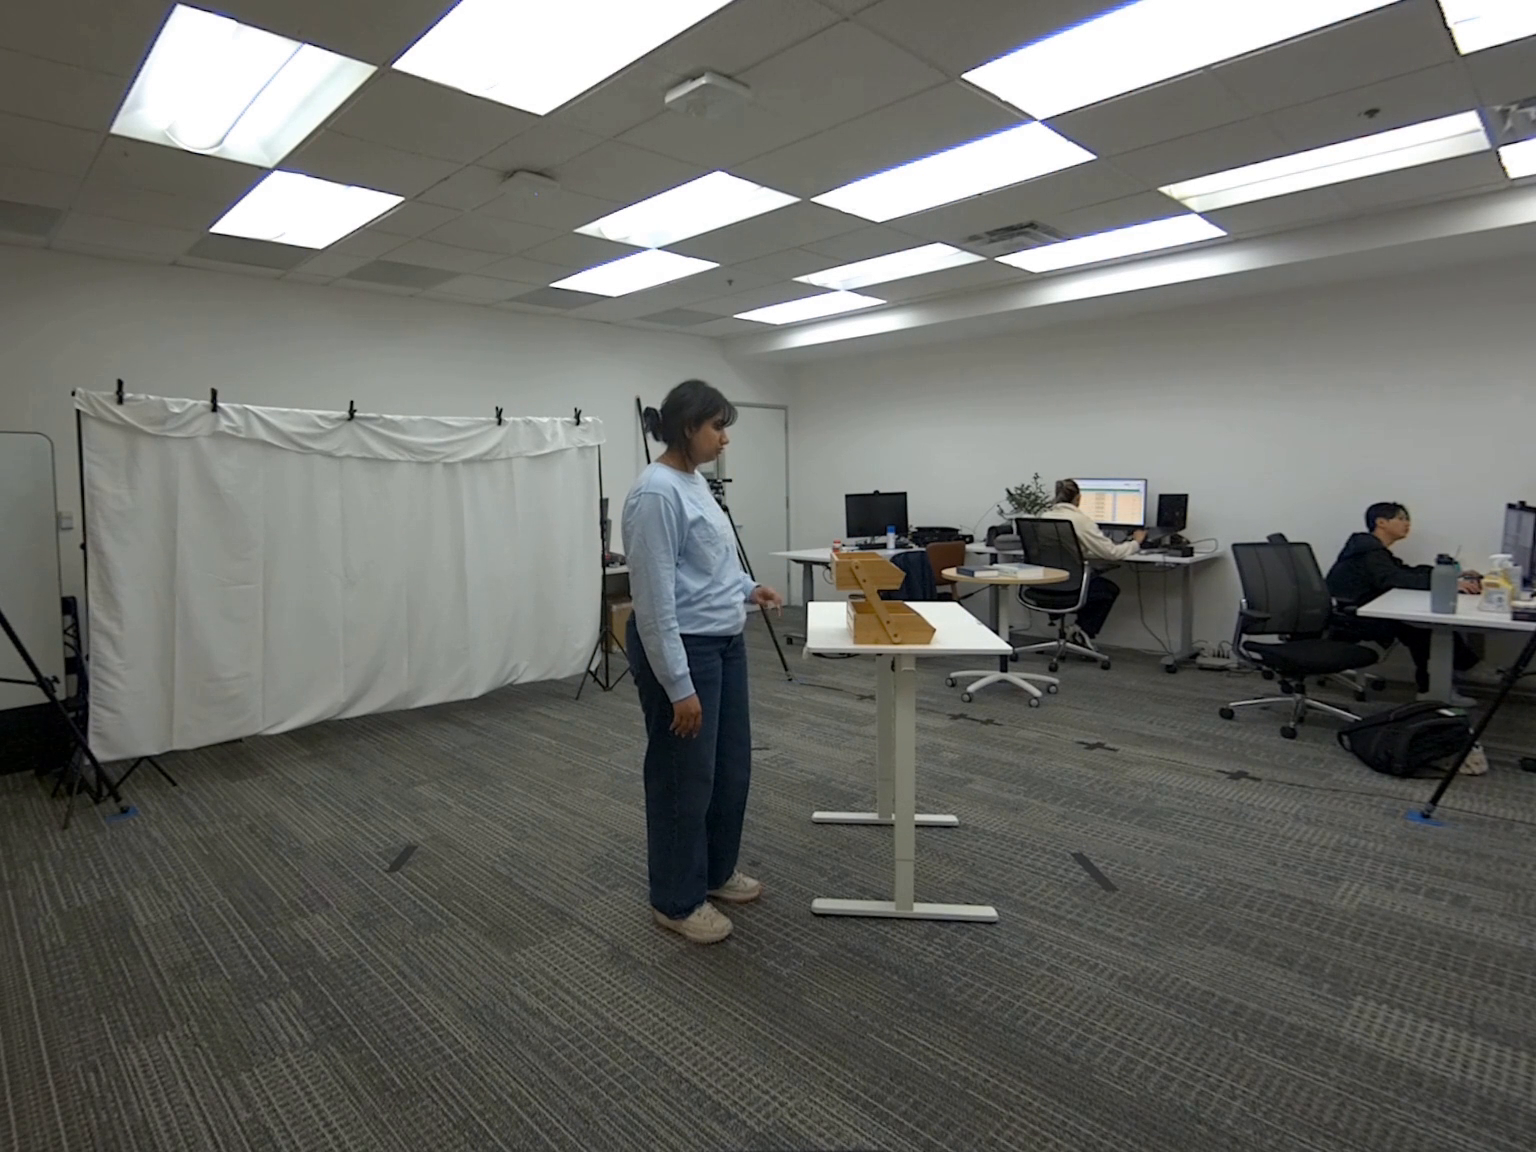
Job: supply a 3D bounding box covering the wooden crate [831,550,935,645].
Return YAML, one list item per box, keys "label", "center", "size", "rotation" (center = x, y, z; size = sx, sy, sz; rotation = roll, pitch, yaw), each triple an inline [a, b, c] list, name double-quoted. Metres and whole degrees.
- label: "wooden crate"
  center: [0.361, 0.060, 2.748]
  size: [0.303, 0.272, 0.324]
  rotation: [-1, 5, 3]
